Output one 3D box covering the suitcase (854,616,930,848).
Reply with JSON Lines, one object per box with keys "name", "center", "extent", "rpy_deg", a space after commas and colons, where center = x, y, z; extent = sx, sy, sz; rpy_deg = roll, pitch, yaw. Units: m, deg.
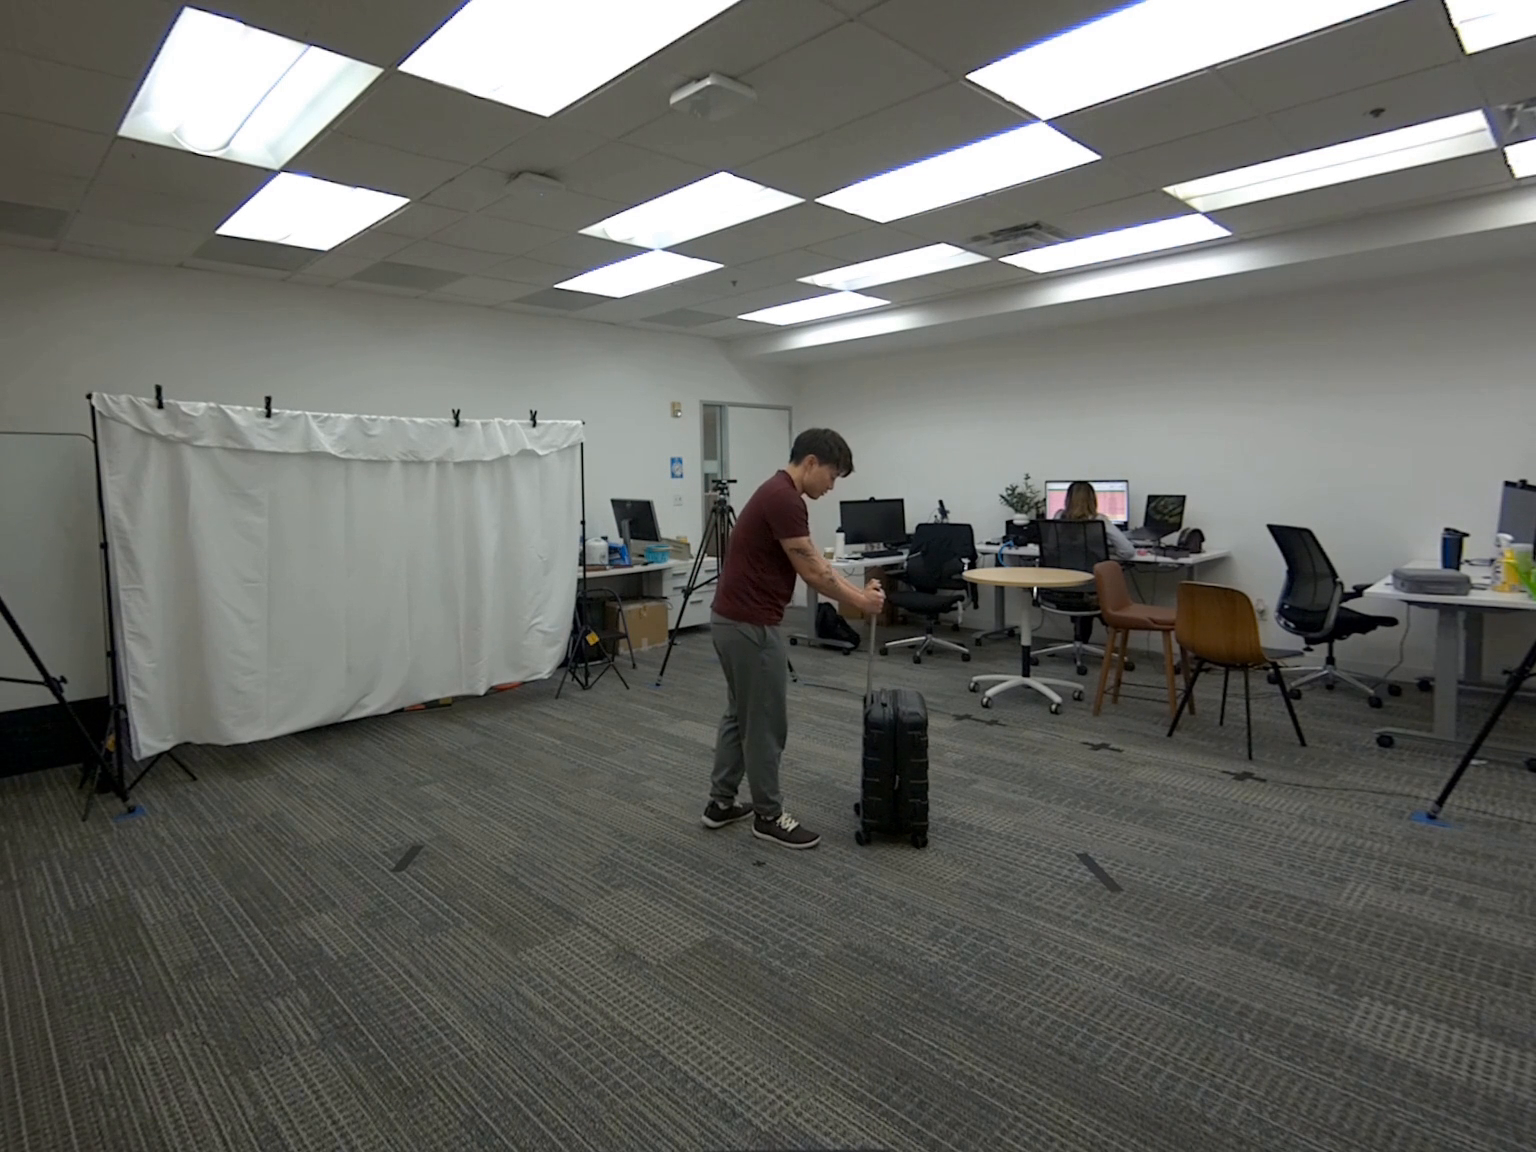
{"name": "suitcase", "center": [0.496, 0.531, 3.339], "extent": [0.259, 0.974, 0.383], "rpy_deg": [3, 5, 6]}
